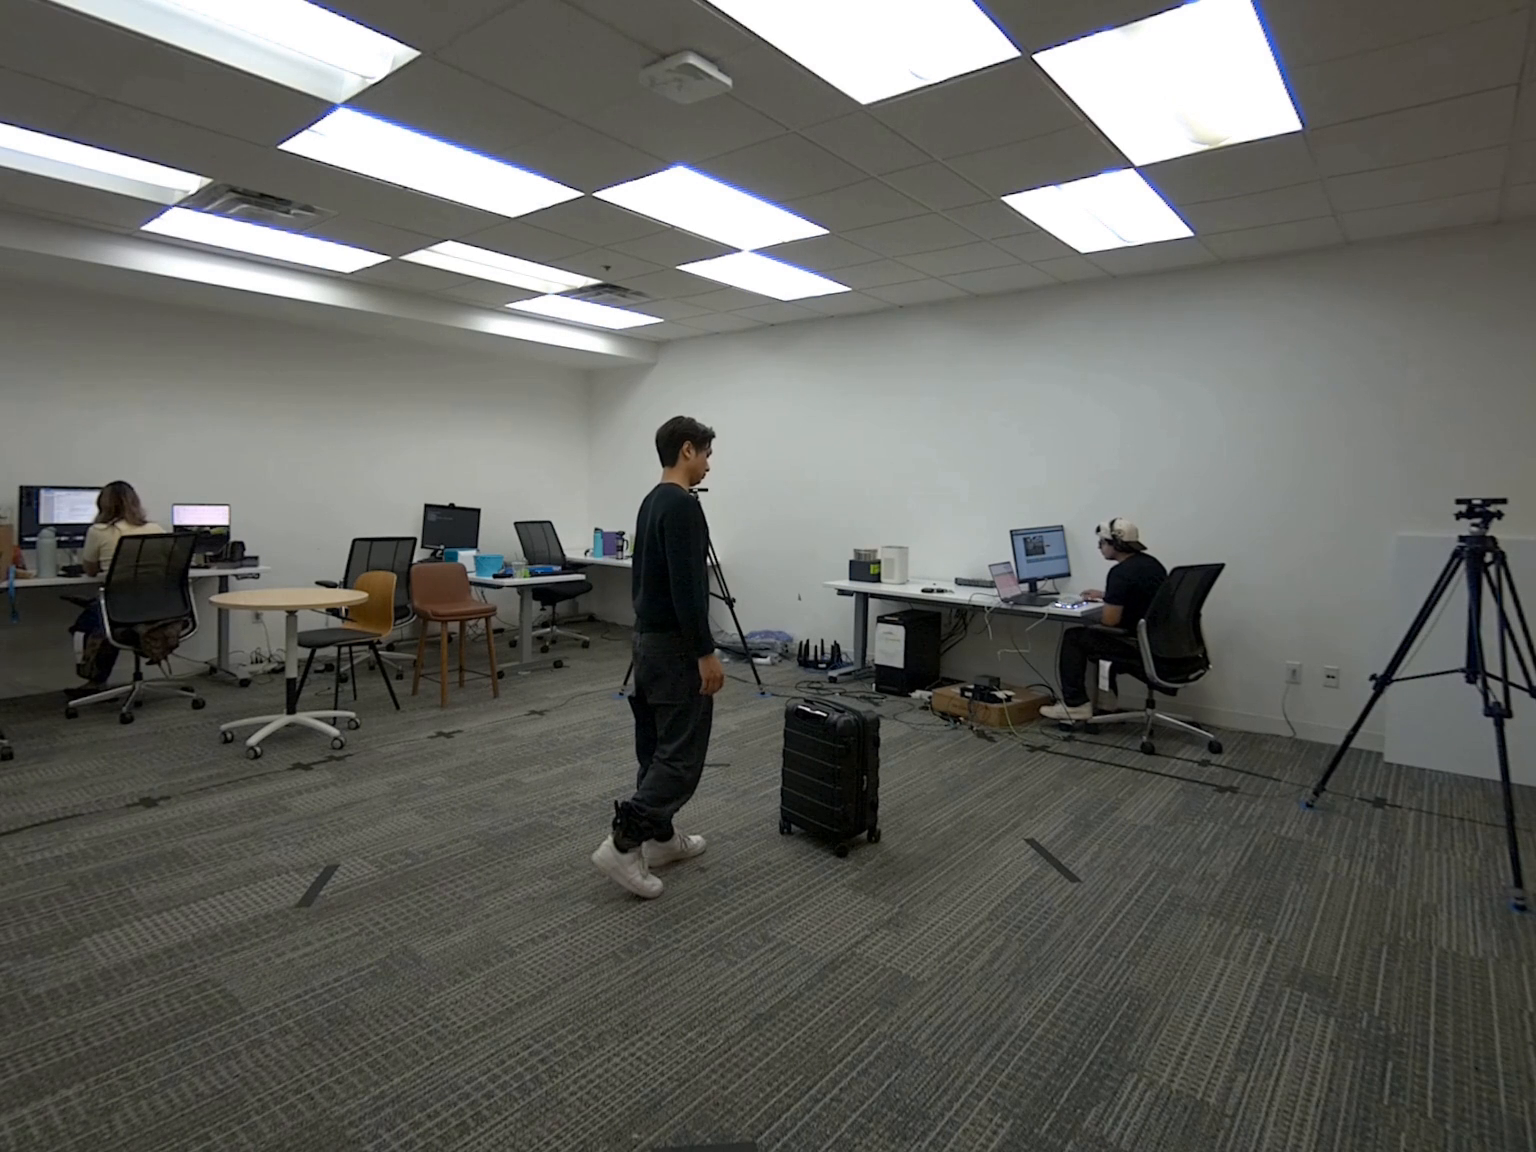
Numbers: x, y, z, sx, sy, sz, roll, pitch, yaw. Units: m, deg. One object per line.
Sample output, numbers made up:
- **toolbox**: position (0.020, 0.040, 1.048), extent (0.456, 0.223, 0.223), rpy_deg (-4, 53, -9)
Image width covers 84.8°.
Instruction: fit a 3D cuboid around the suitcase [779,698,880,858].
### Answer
- **suitcase**: position (0.237, 0.772, 3.421), extent (0.241, 0.548, 0.388), rpy_deg (-1, 4, -40)
